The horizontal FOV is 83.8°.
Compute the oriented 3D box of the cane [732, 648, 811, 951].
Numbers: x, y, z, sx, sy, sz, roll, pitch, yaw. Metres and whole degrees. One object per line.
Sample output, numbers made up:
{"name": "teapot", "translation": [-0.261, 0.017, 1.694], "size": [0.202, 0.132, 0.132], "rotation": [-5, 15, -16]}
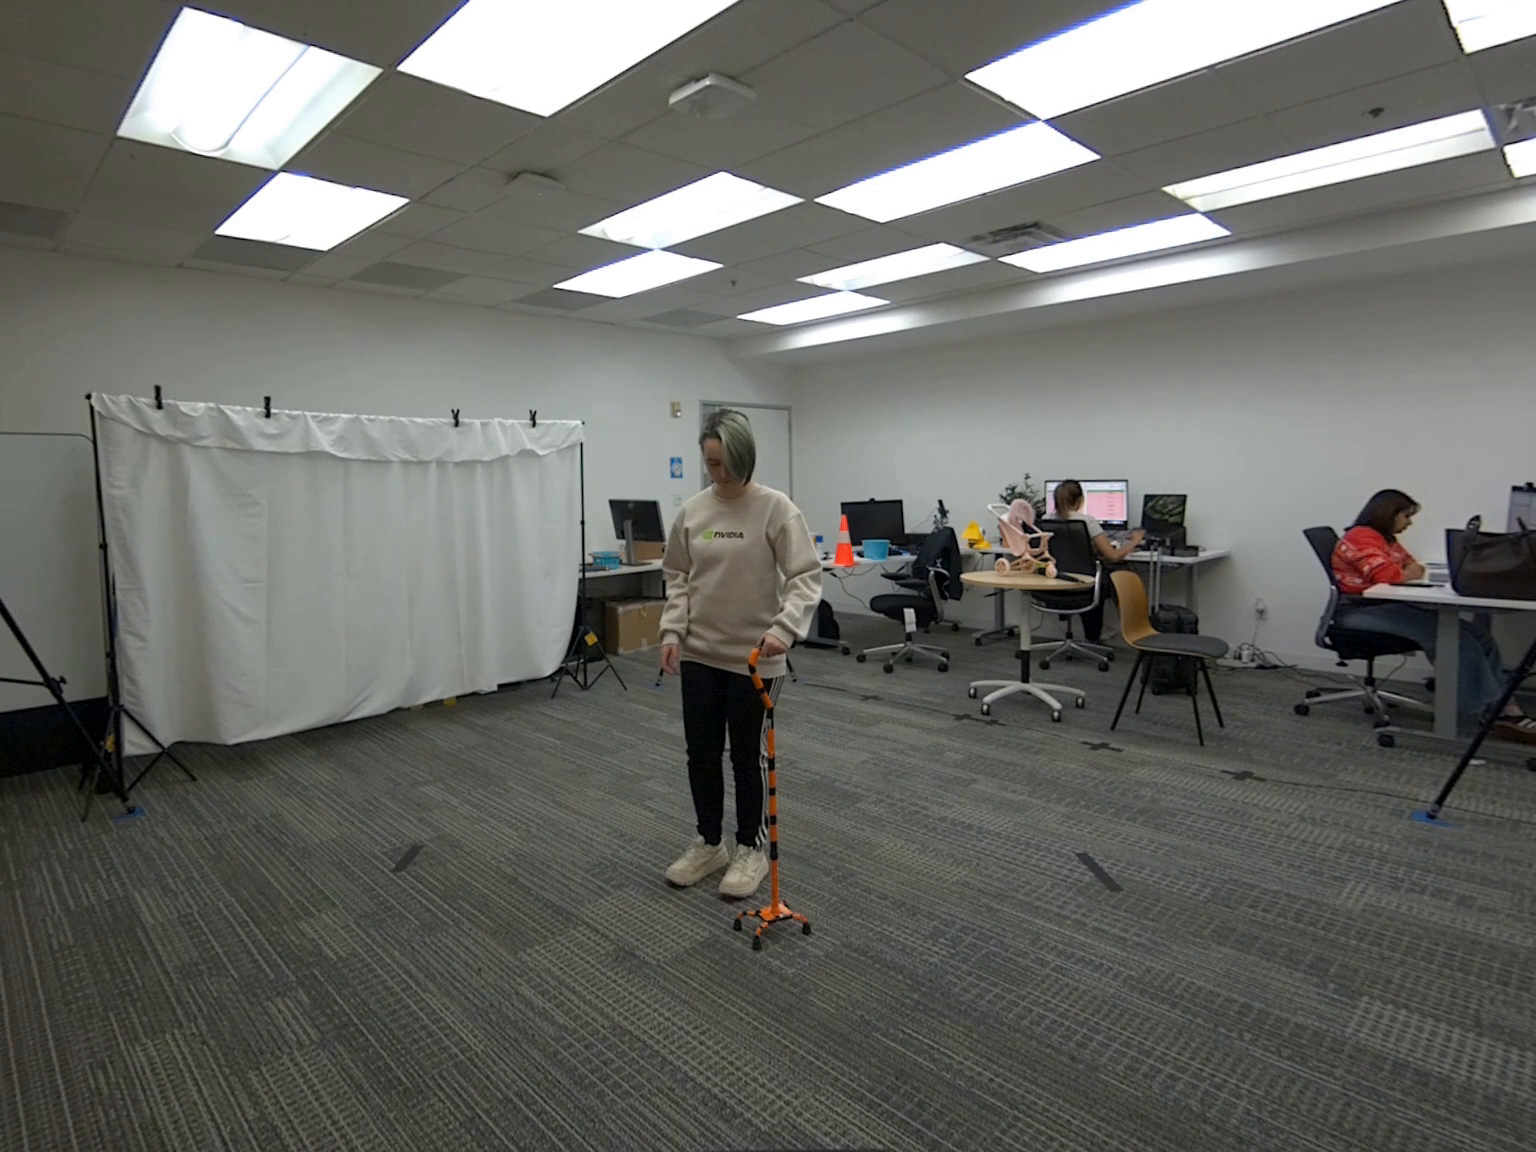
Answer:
{"name": "cane", "translation": [0.000, 0.652, 2.615], "size": [0.202, 0.904, 0.155], "rotation": [-4, 5, -28]}
